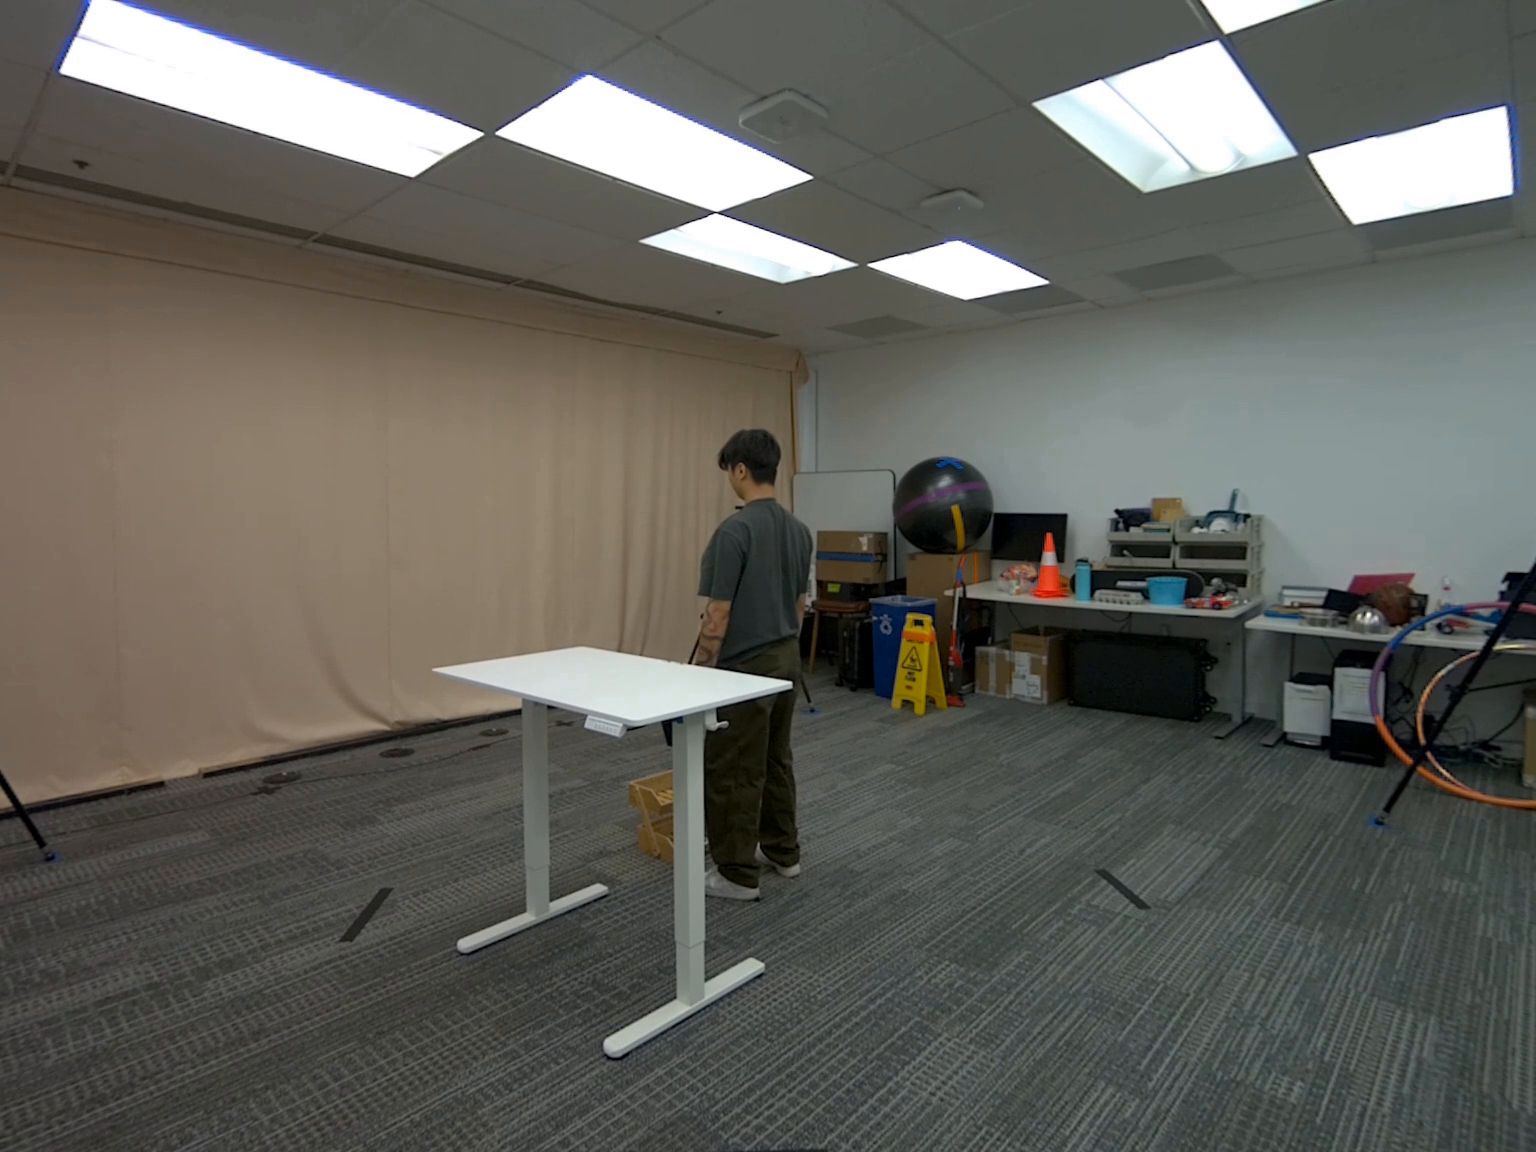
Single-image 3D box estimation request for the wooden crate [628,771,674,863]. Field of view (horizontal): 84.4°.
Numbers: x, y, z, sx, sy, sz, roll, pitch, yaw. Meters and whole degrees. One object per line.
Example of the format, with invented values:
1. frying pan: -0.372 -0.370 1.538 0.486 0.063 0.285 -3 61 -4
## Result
1. wooden crate: -0.359 0.972 3.462 0.312 0.273 0.314 2 5 44
